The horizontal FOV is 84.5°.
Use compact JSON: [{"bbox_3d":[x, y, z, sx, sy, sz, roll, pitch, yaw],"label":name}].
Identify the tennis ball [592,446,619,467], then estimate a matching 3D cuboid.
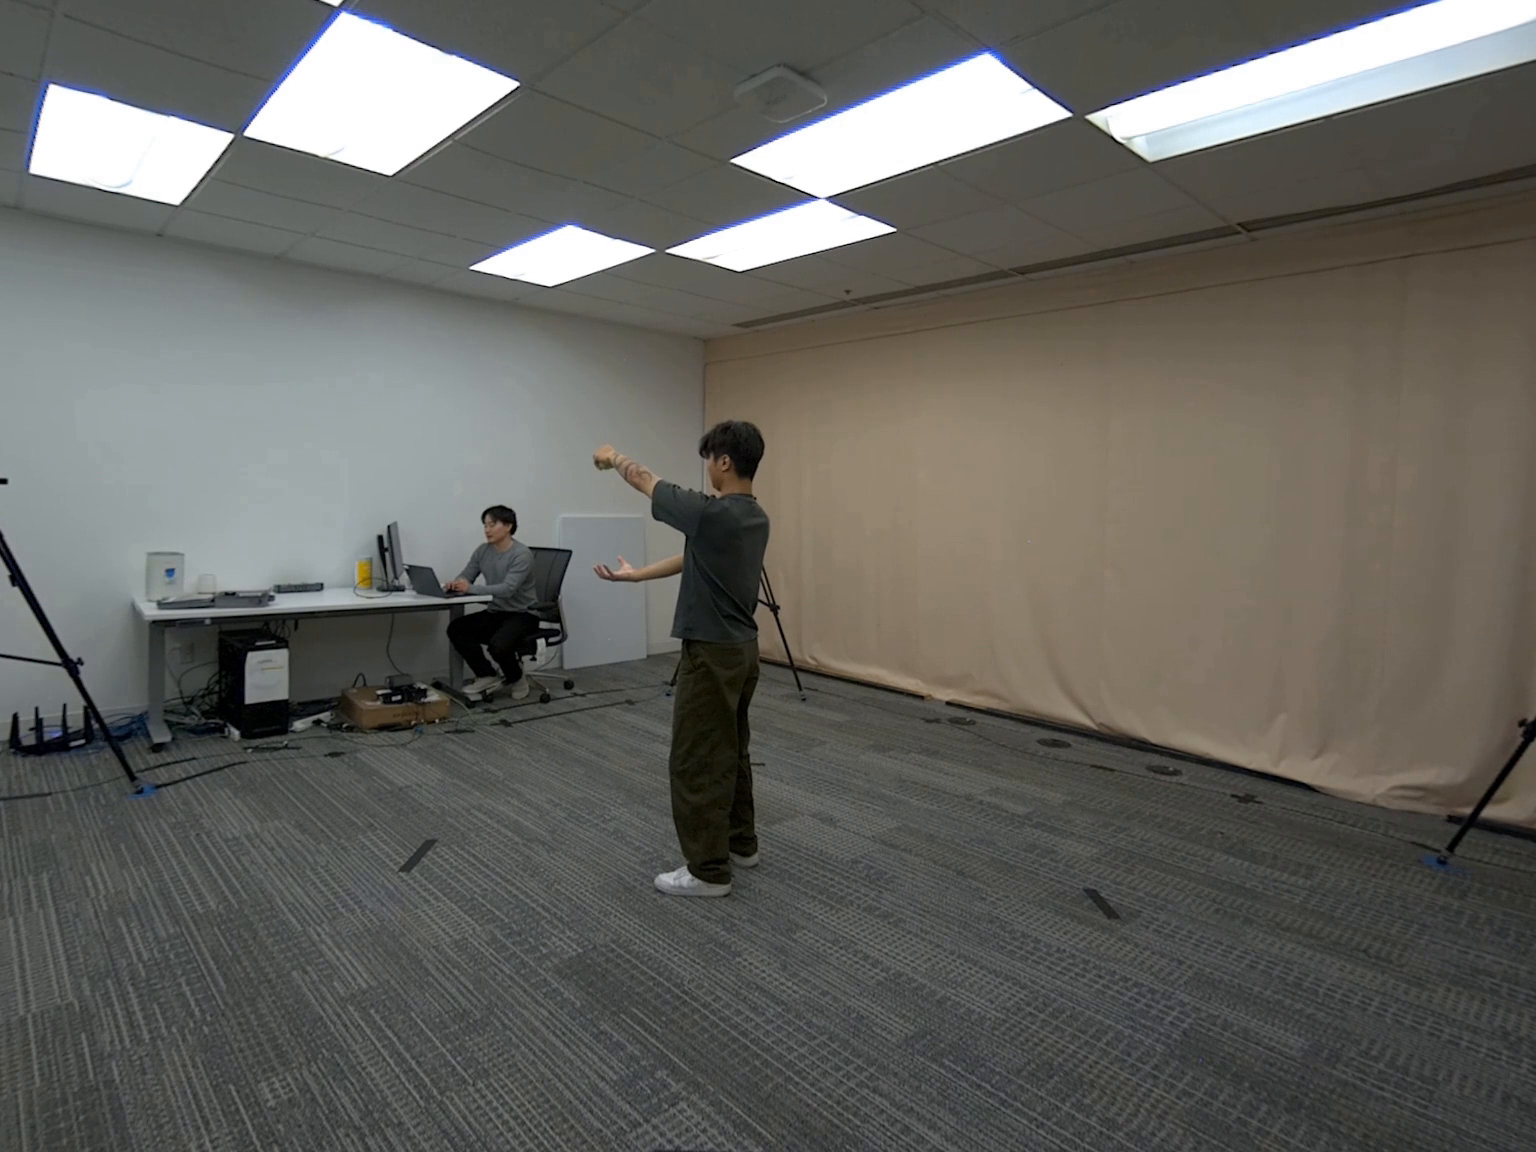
[{"bbox_3d":[-0.640,-0.484,3.224,0.066,0.066,0.067,1,4,-1],"label":"tennis ball"}]
